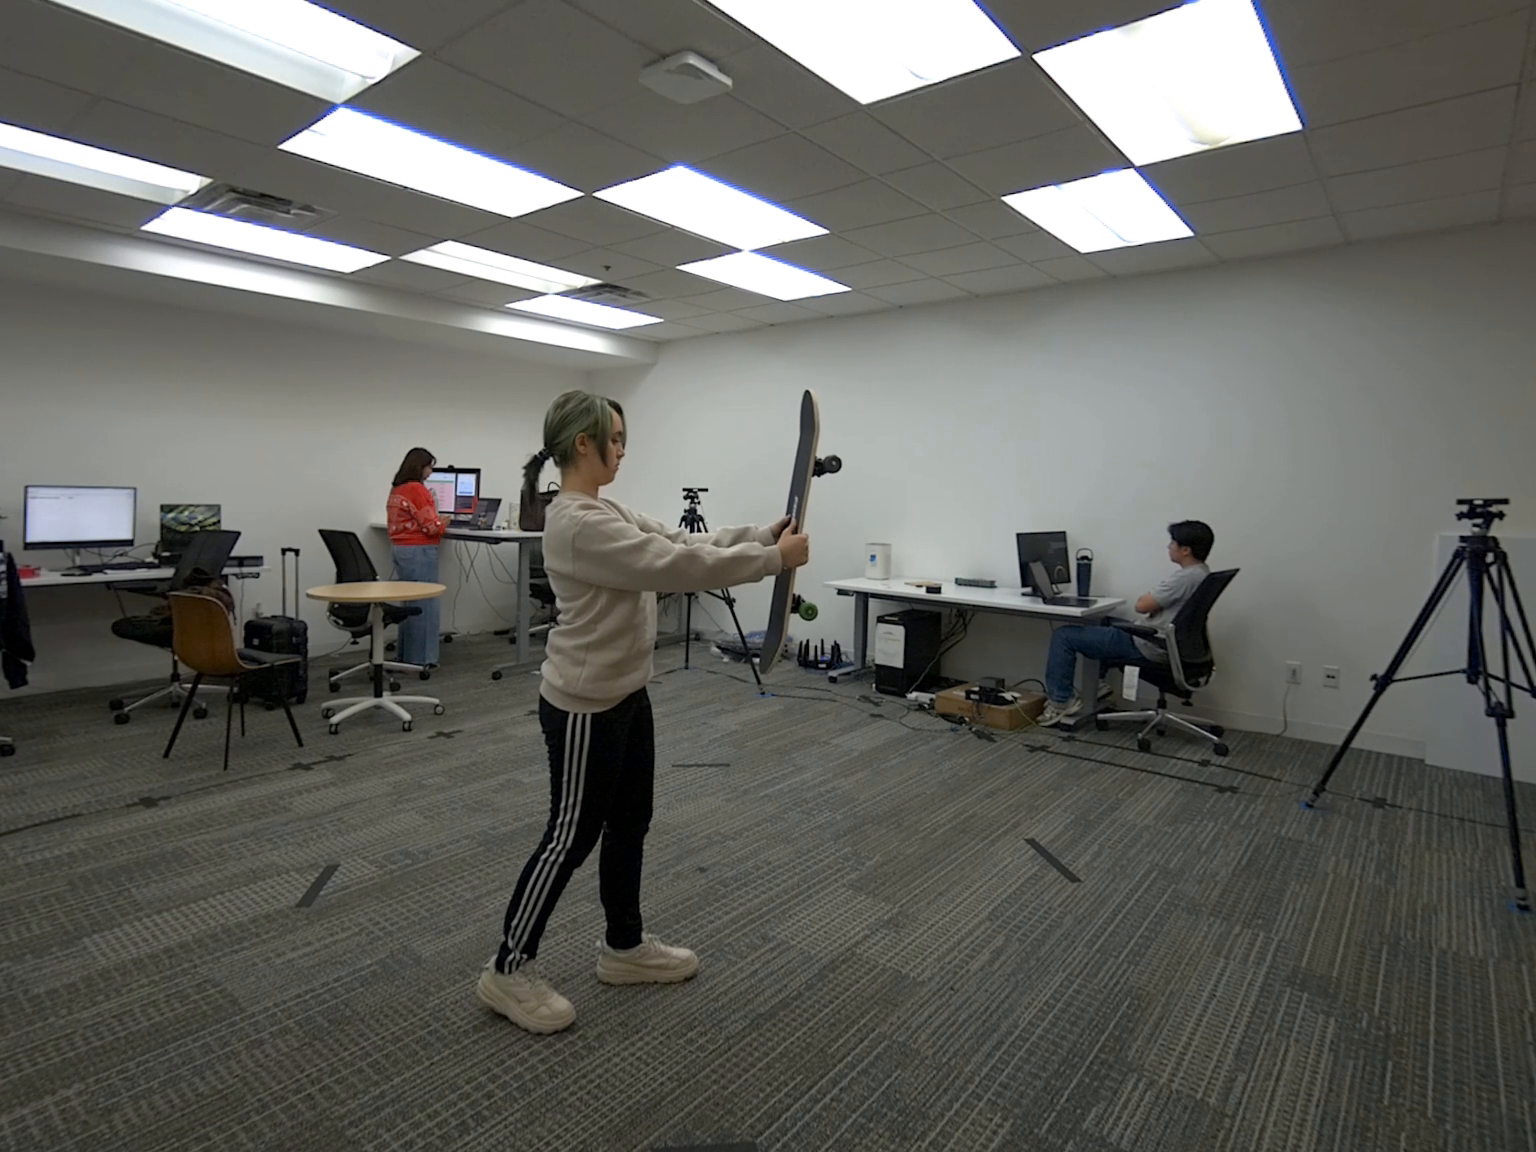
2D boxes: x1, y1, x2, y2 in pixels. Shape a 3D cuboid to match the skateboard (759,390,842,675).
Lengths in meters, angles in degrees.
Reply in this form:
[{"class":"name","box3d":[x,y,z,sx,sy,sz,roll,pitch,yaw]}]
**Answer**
[{"class":"skateboard","box3d":[0.079,-0.113,2.324,0.109,0.785,0.195,9,1,-9]}]
